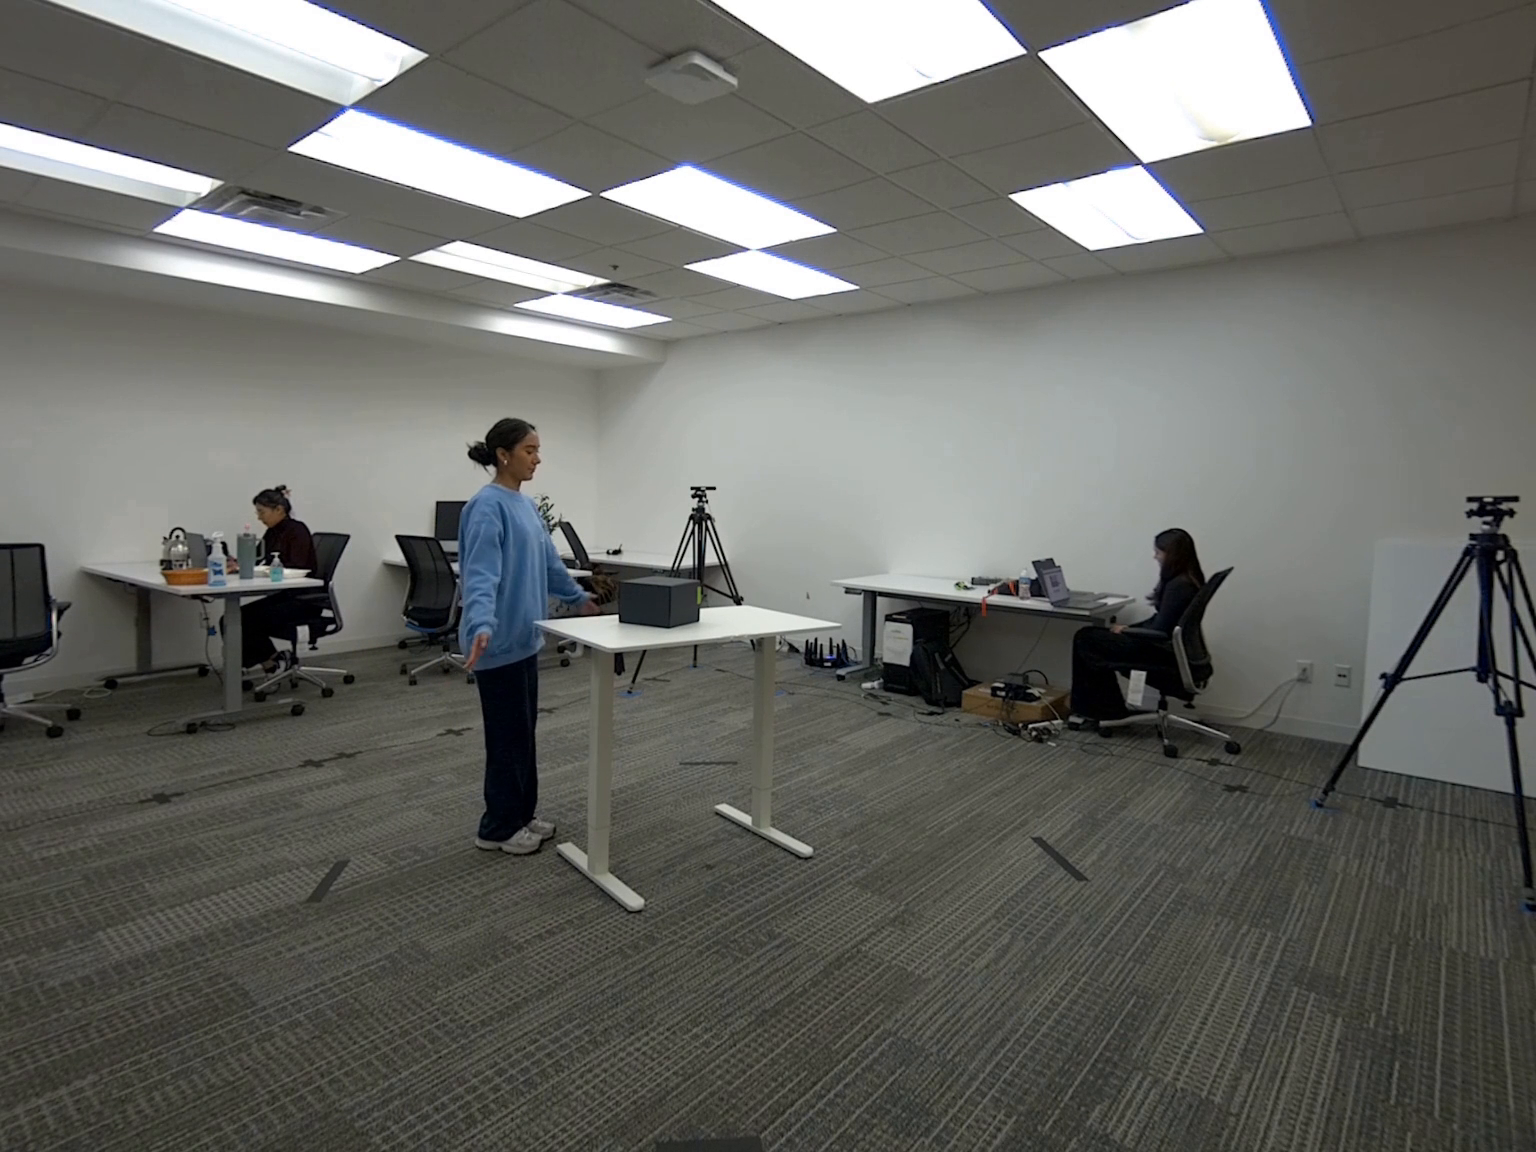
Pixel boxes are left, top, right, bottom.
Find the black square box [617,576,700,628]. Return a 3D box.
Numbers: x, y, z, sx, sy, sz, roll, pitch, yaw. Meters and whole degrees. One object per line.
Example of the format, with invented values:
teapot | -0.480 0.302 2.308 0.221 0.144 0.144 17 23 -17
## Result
black square box | -0.412 0.095 3.179 0.234 0.155 0.212 4 6 28
